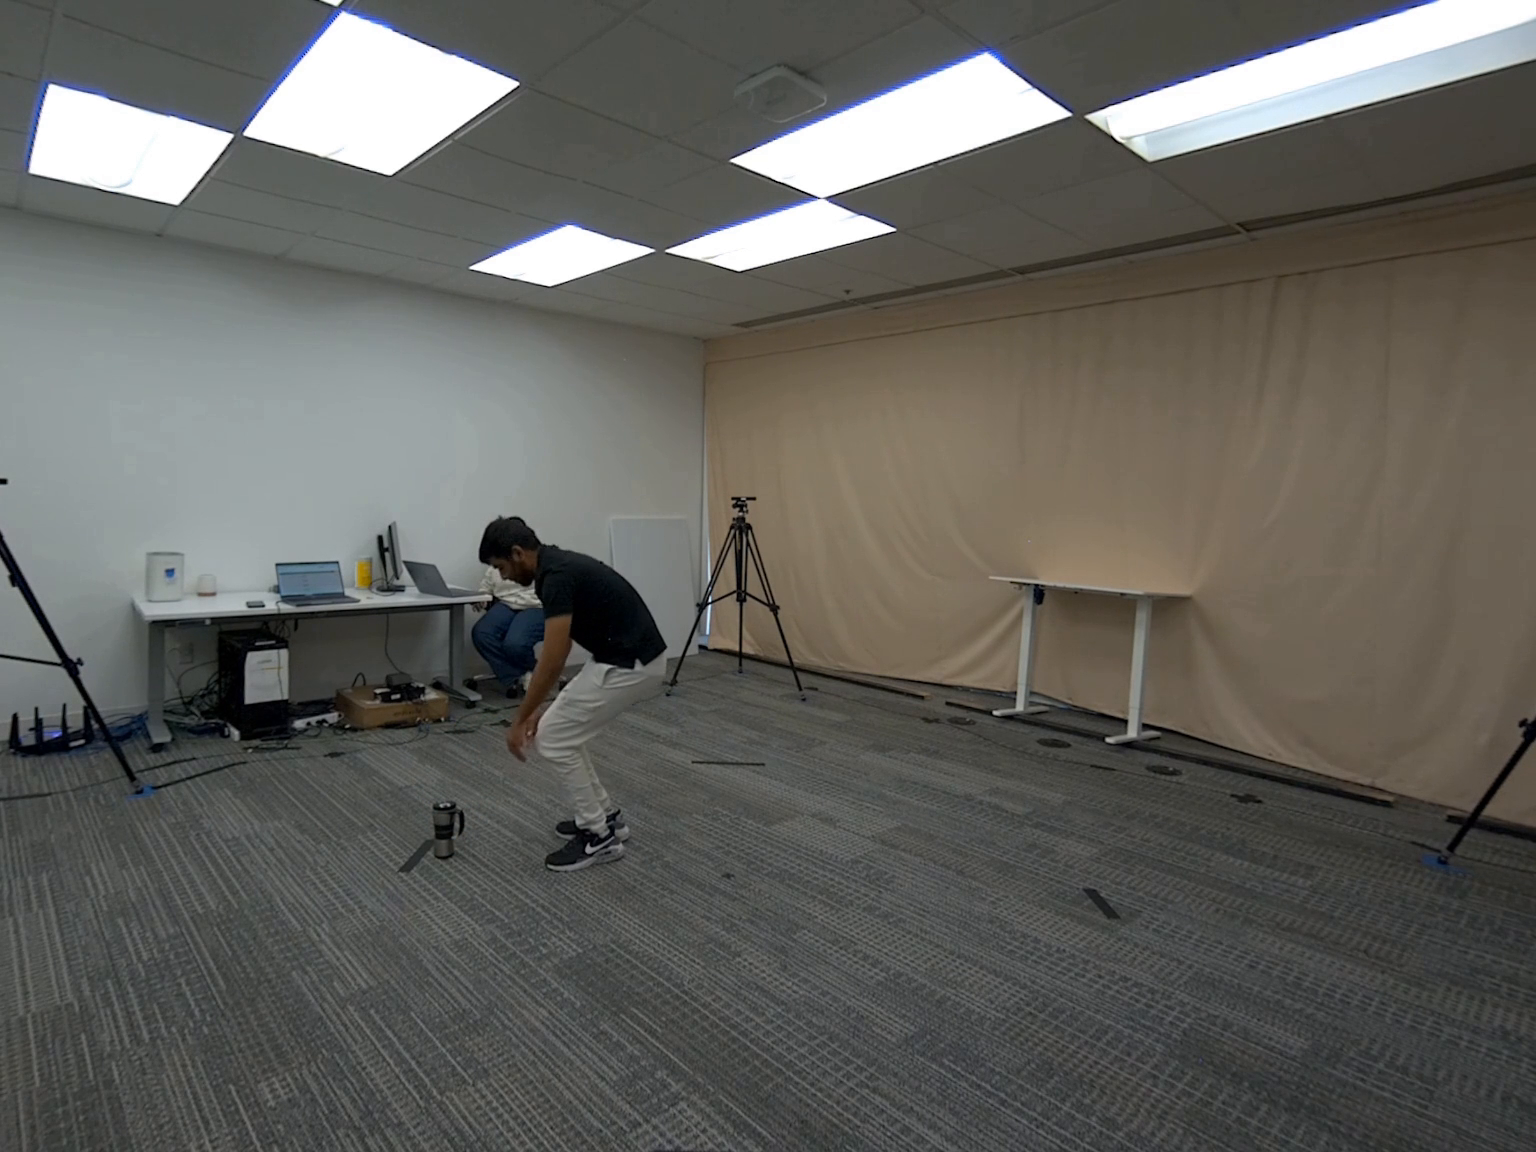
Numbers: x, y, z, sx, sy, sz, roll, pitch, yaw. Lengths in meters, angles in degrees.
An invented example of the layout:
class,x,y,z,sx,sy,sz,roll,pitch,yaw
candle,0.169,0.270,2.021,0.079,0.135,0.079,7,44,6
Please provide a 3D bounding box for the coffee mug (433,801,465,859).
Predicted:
class,x,y,z,sx,sy,sz,roll,pitch,yaw
coffee mug,-1.226,0.971,3.207,0.125,0.203,0.086,0,-1,44
